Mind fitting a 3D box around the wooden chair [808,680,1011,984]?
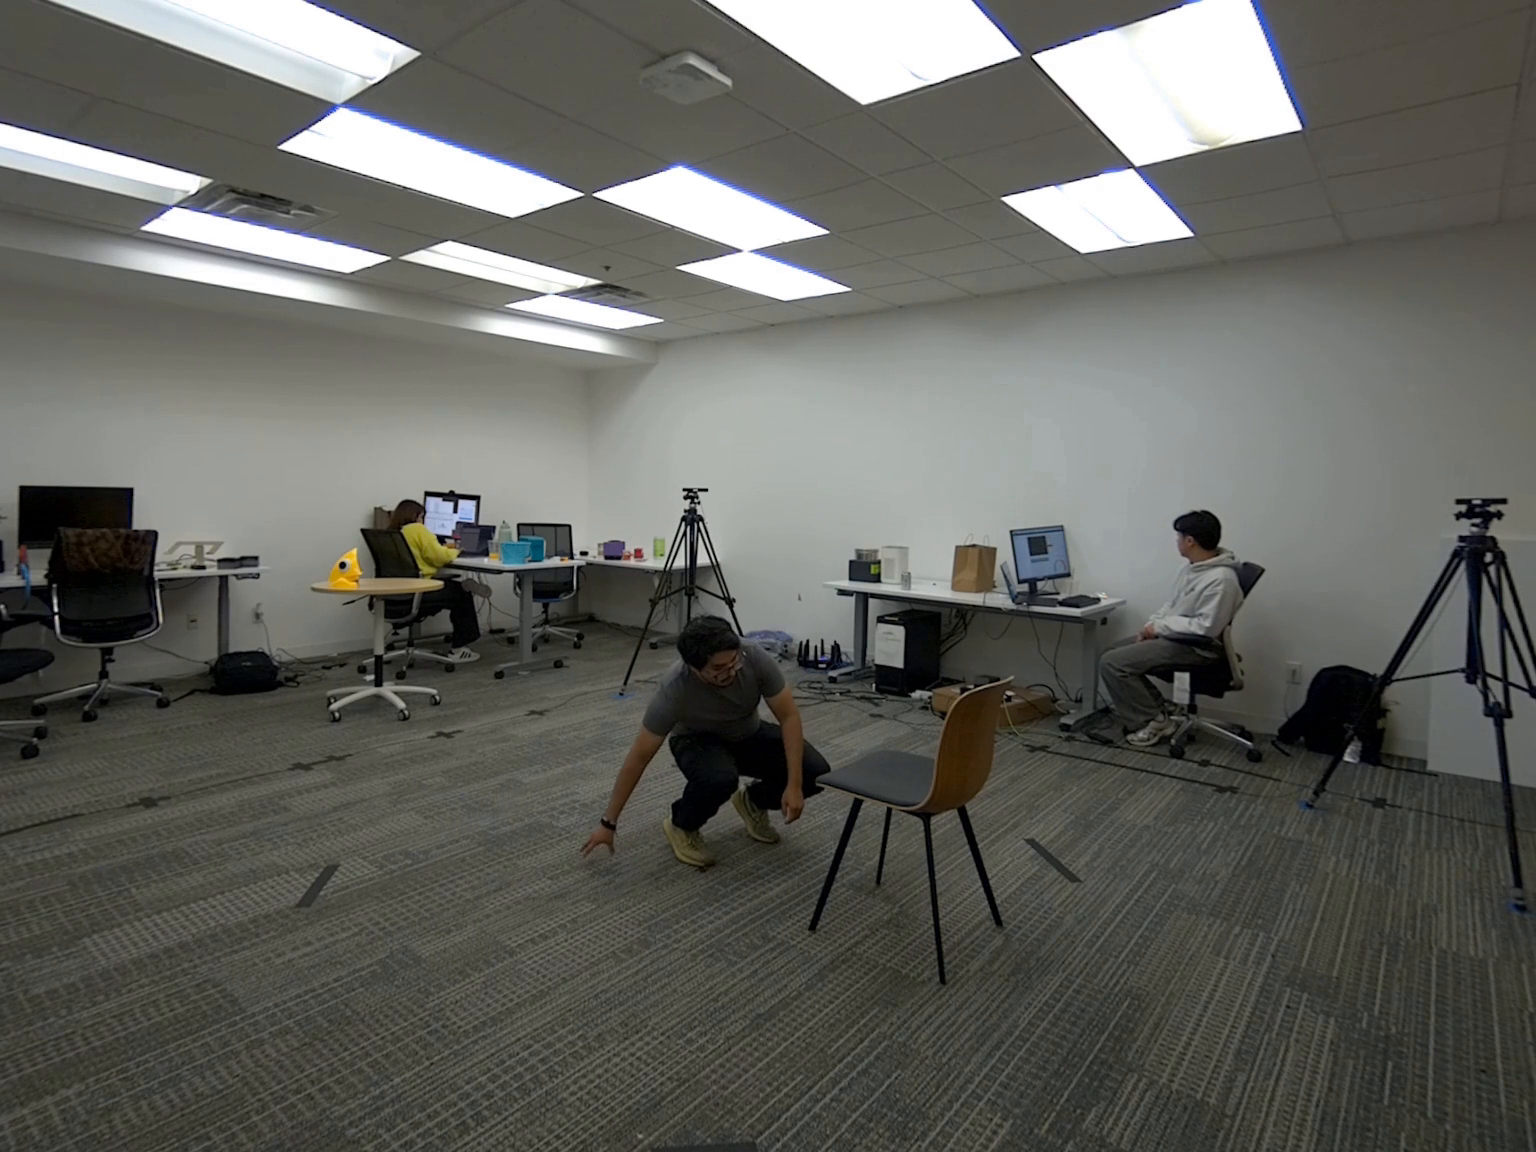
[{"bbox_3d":[0.444,0.698,2.697,0.541,0.873,0.464,9,7,37],"label":"wooden chair"}]
